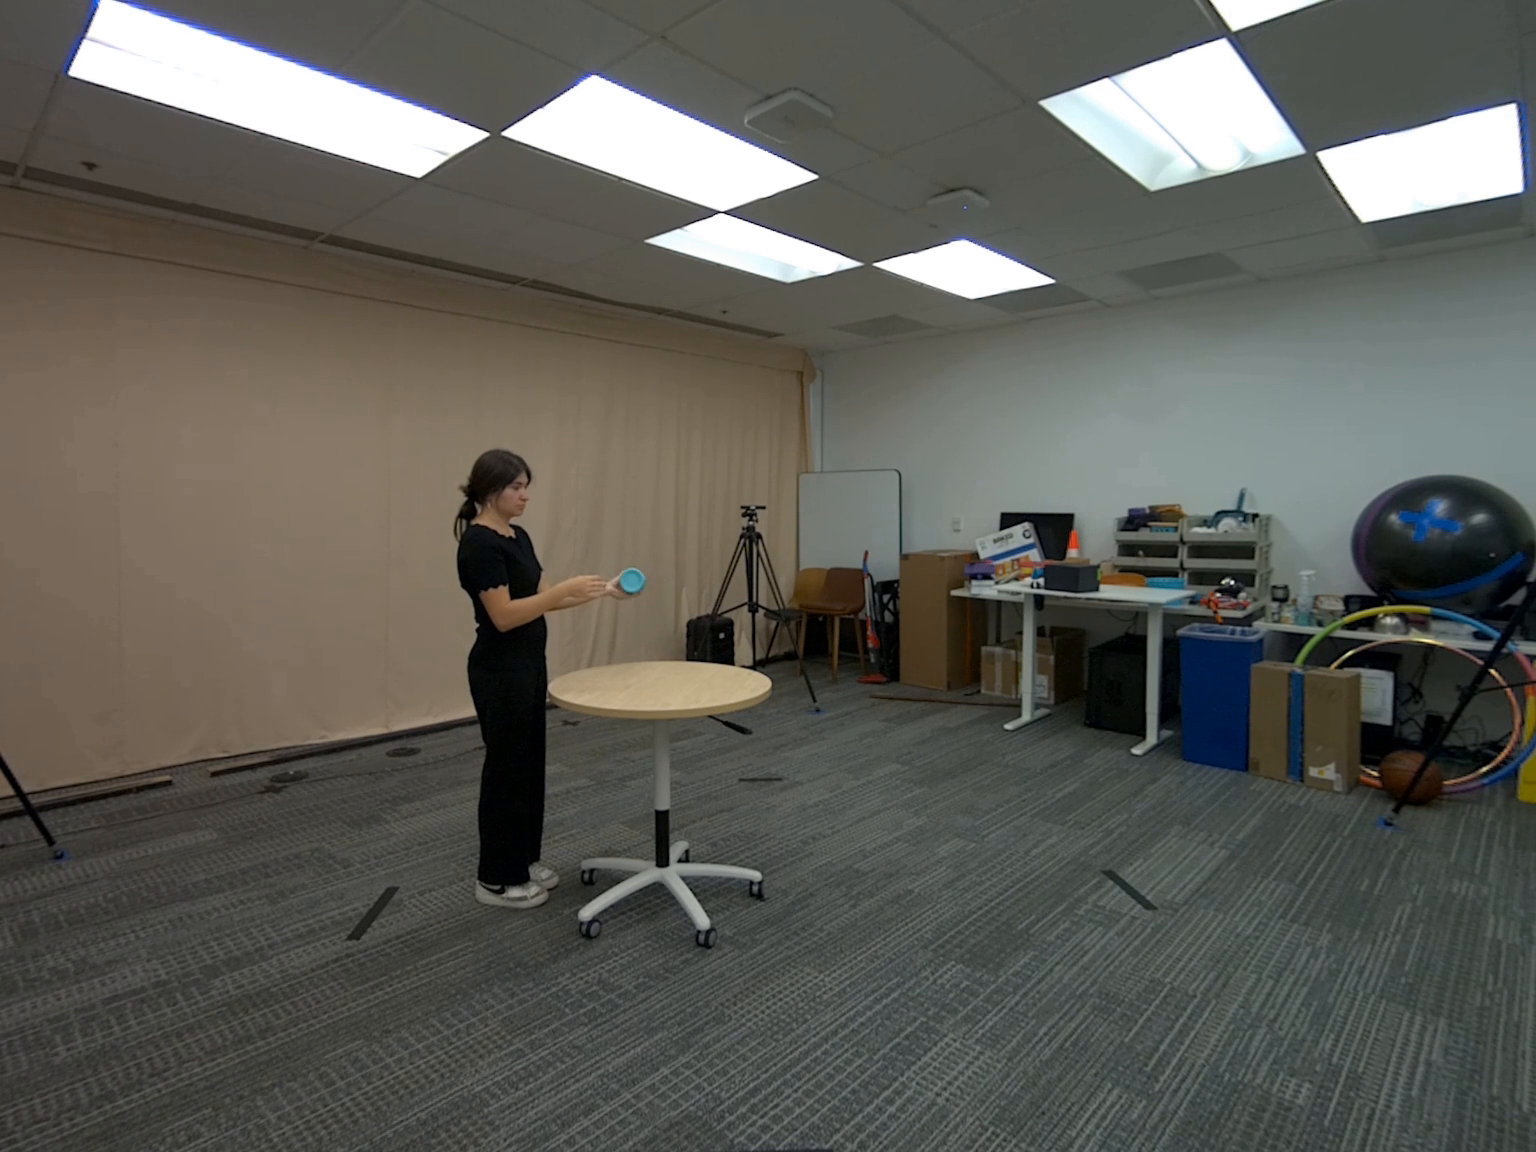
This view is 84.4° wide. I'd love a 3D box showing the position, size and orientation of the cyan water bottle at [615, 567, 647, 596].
[{"bbox_3d":[-0.515,0.020,3.232,0.092,0.092,0.284,0,-1,-4],"label":"cyan water bottle"}]
